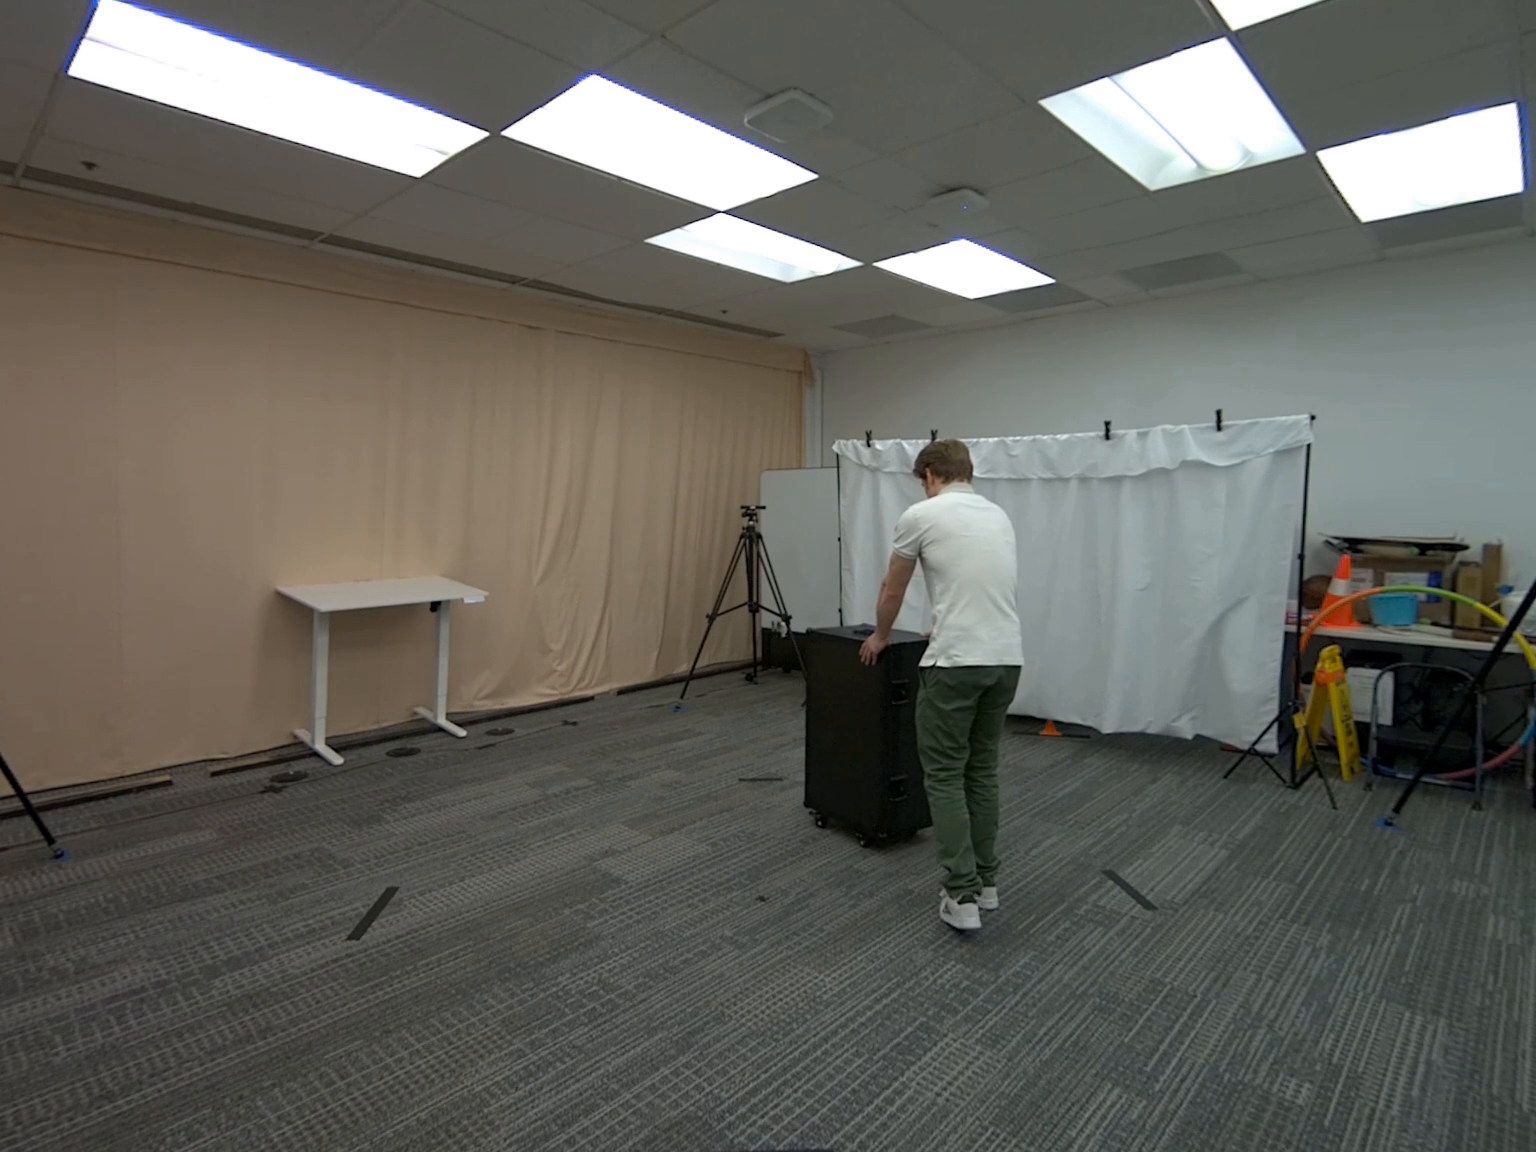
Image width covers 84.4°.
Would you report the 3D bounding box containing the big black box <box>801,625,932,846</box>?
[{"bbox_3d":[0.443,0.669,3.598,0.374,0.867,0.540,-2,4,-37],"label":"big black box"}]
